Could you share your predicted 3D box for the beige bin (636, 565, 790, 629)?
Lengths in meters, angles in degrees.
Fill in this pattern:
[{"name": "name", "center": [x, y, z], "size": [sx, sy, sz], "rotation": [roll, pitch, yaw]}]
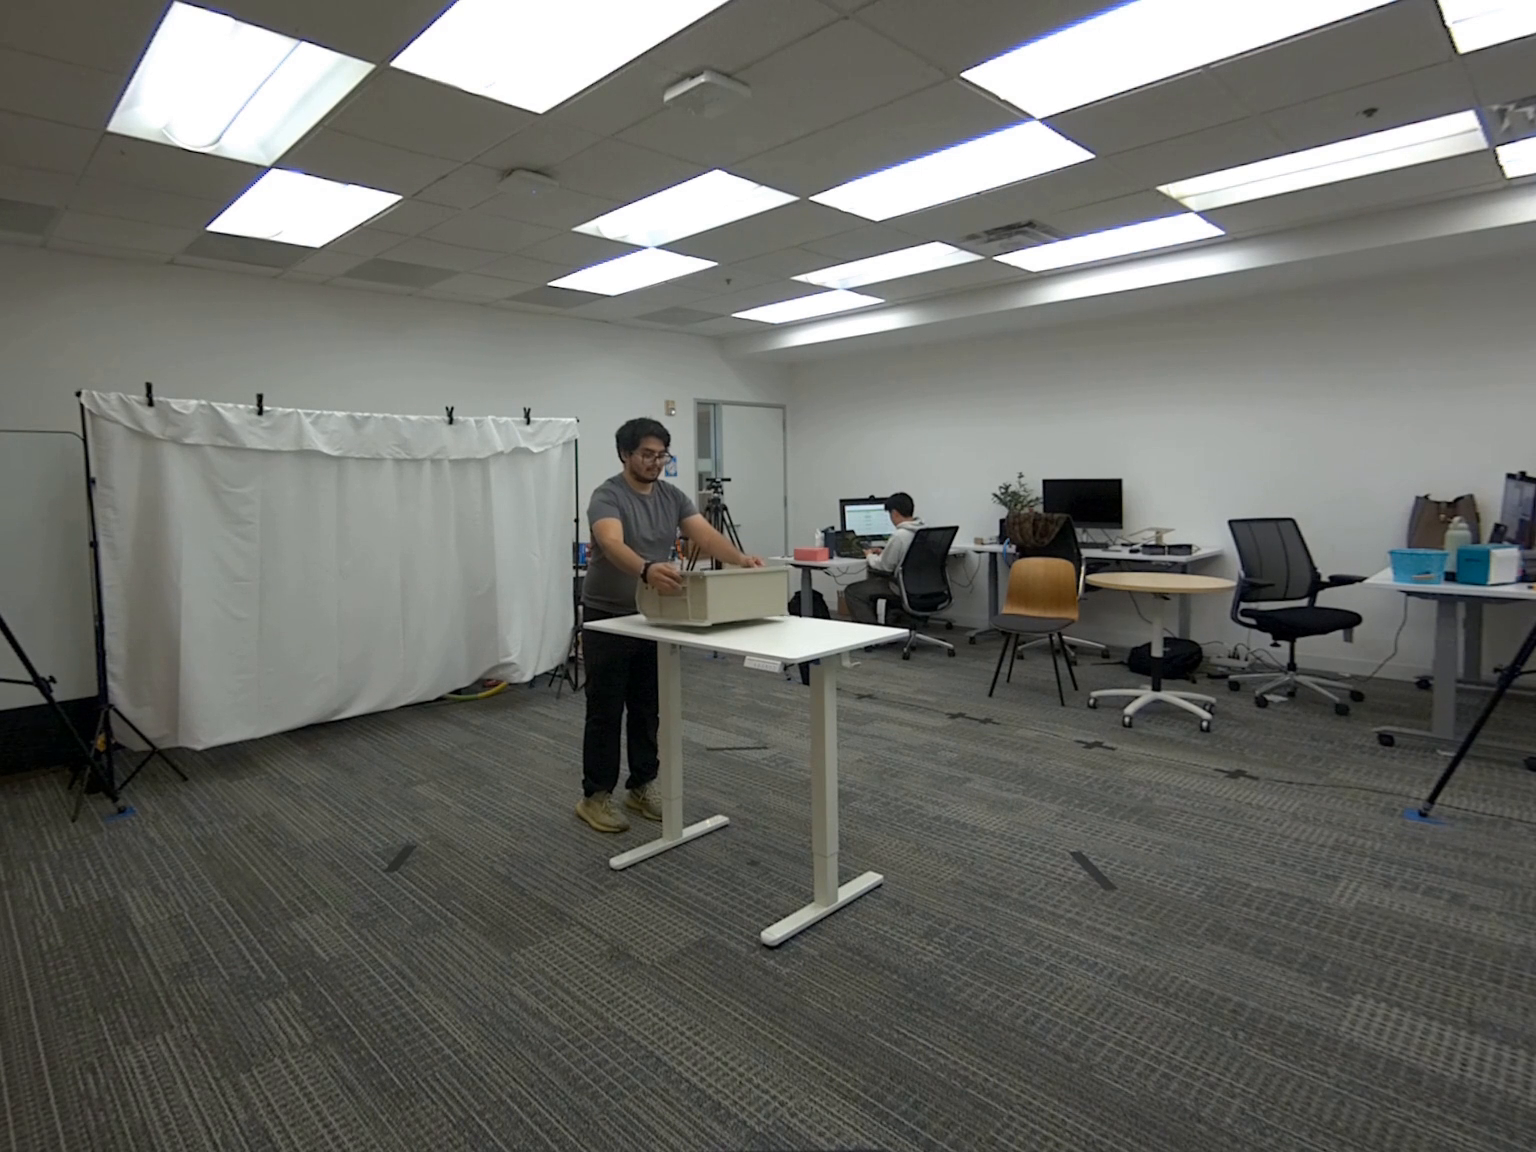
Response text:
[{"name": "beige bin", "center": [-0.199, 0.067, 3.047], "size": [0.410, 0.189, 0.389], "rotation": [-3, 4, -45]}]
